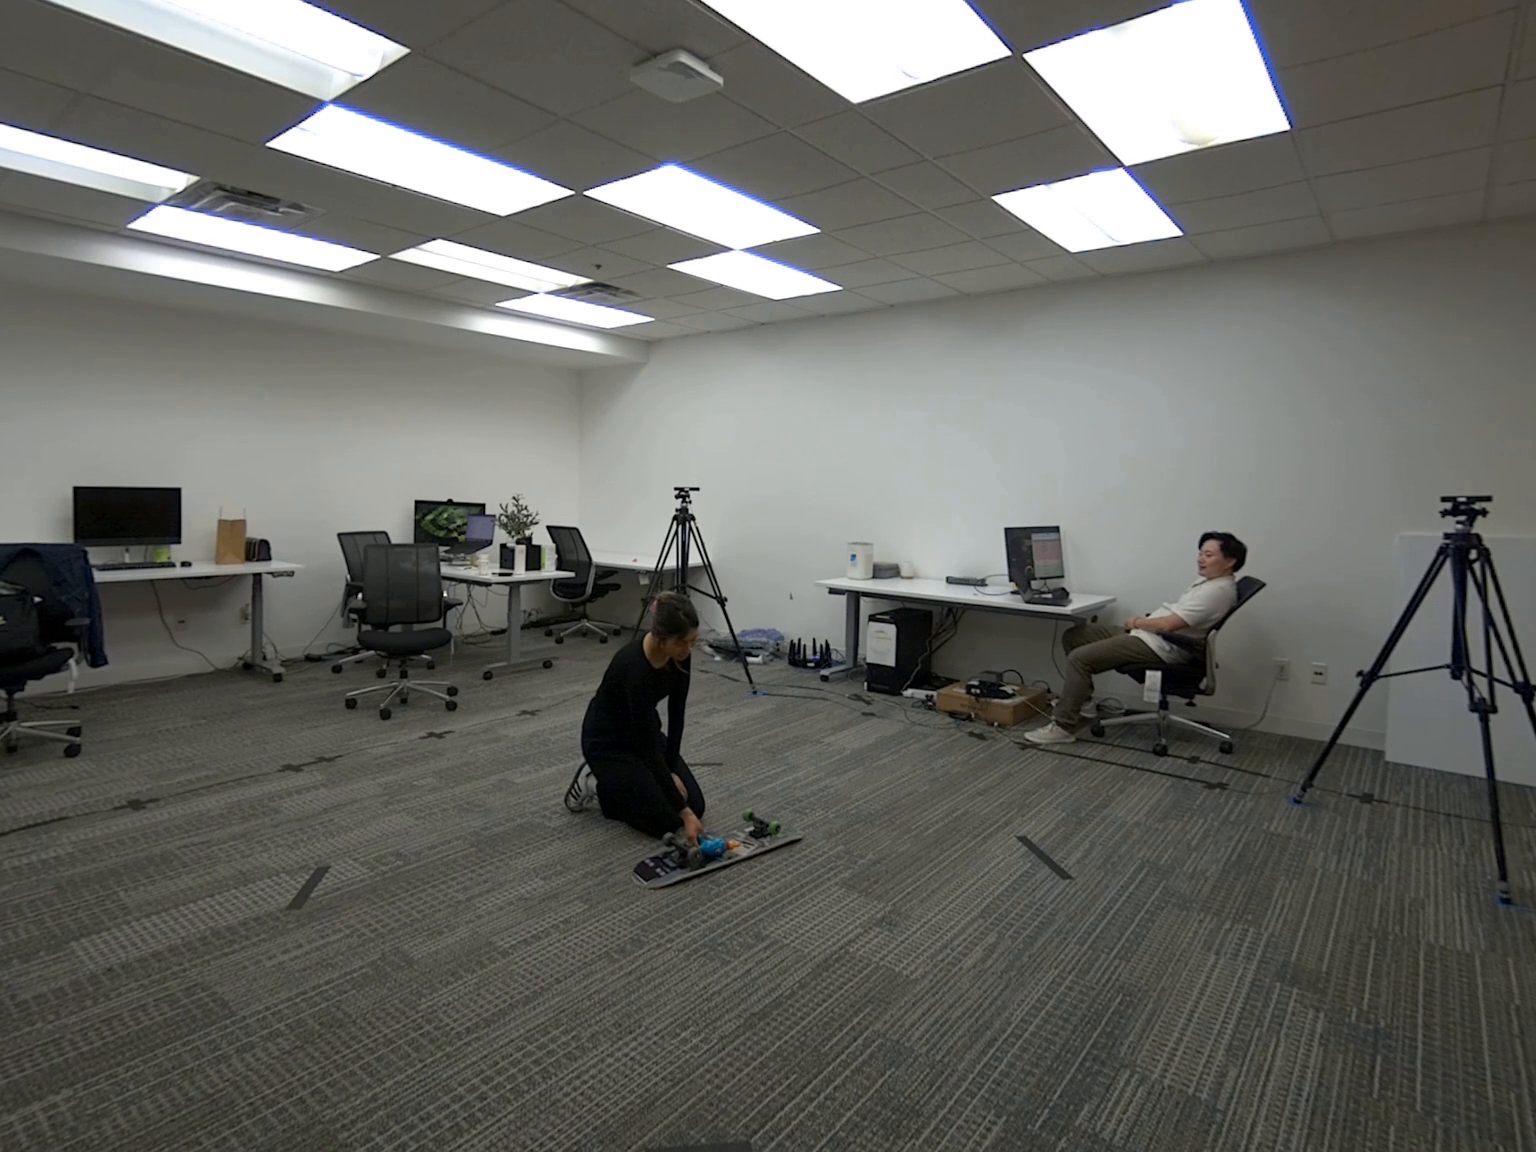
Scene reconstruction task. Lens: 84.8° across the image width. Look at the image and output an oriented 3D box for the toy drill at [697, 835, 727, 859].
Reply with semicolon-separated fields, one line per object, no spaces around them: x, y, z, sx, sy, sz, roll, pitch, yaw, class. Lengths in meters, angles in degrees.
-0.201;1.004;3.189;0.166;0.061;0.149;-2;2;-23;toy drill
